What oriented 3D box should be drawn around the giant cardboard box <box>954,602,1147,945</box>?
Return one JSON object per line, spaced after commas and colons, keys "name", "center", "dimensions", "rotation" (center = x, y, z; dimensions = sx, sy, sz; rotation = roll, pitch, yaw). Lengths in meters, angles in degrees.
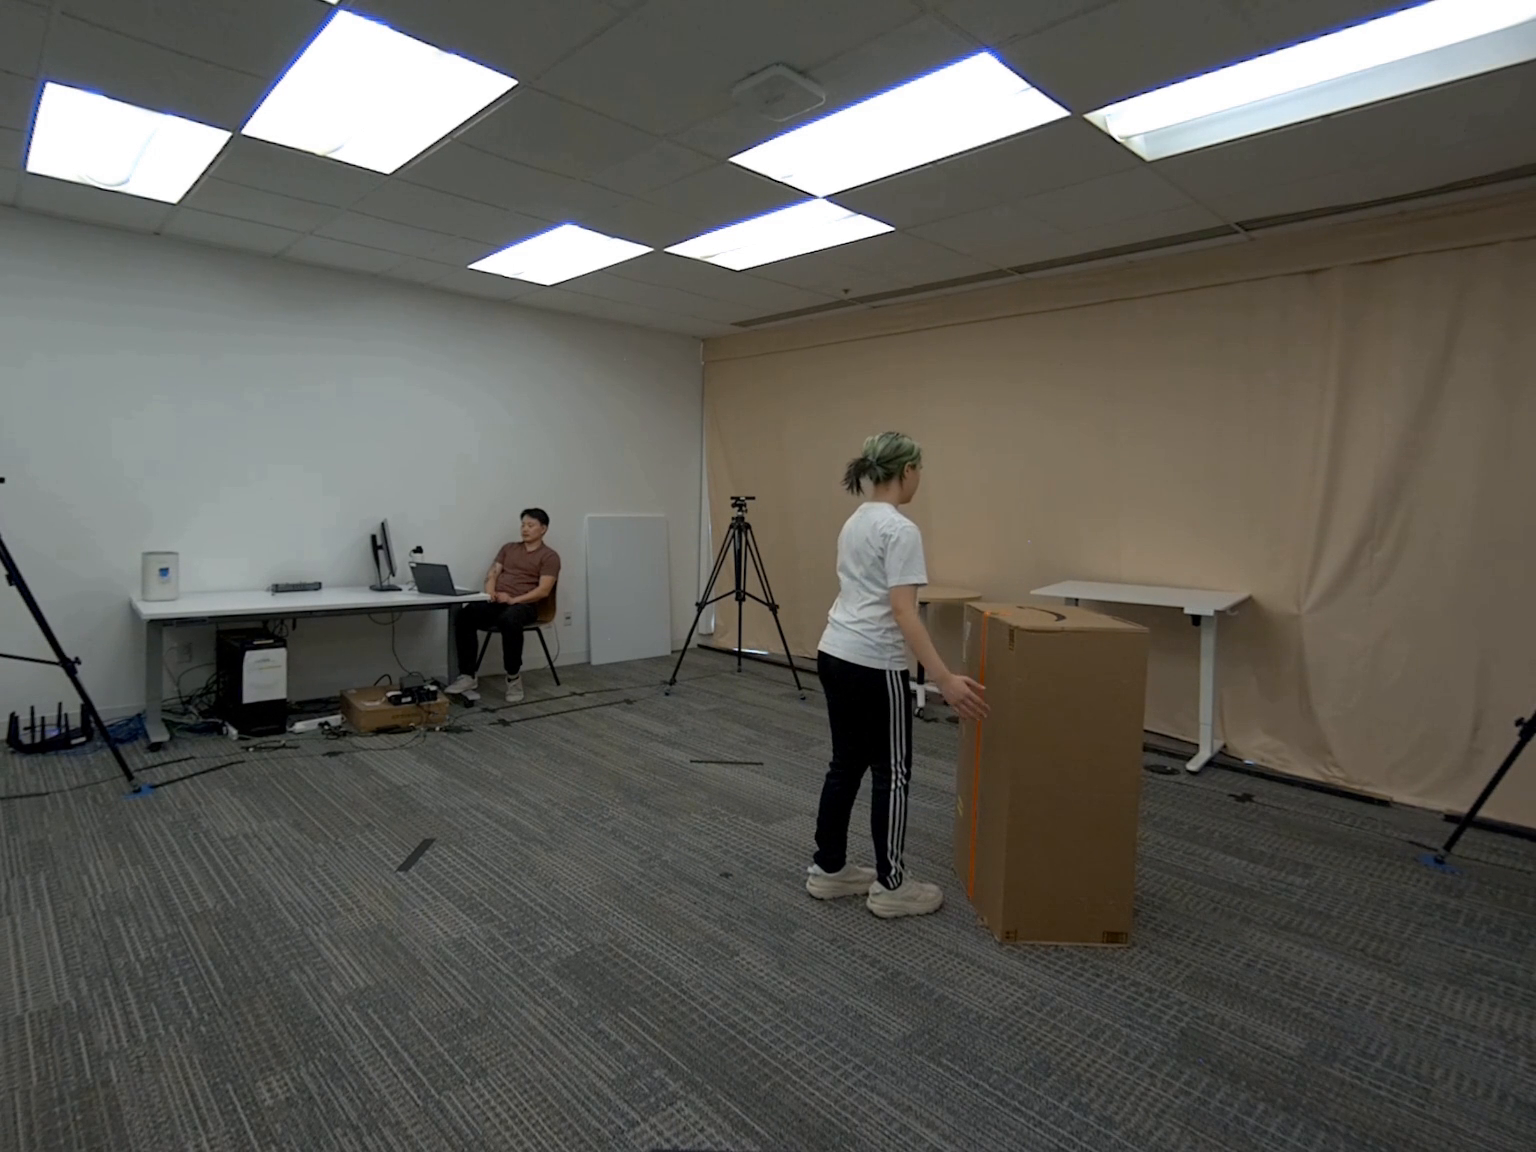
{"name": "giant cardboard box", "center": [0.940, 0.643, 2.920], "dimensions": [0.446, 1.024, 0.586], "rotation": [2, 4, -2]}
